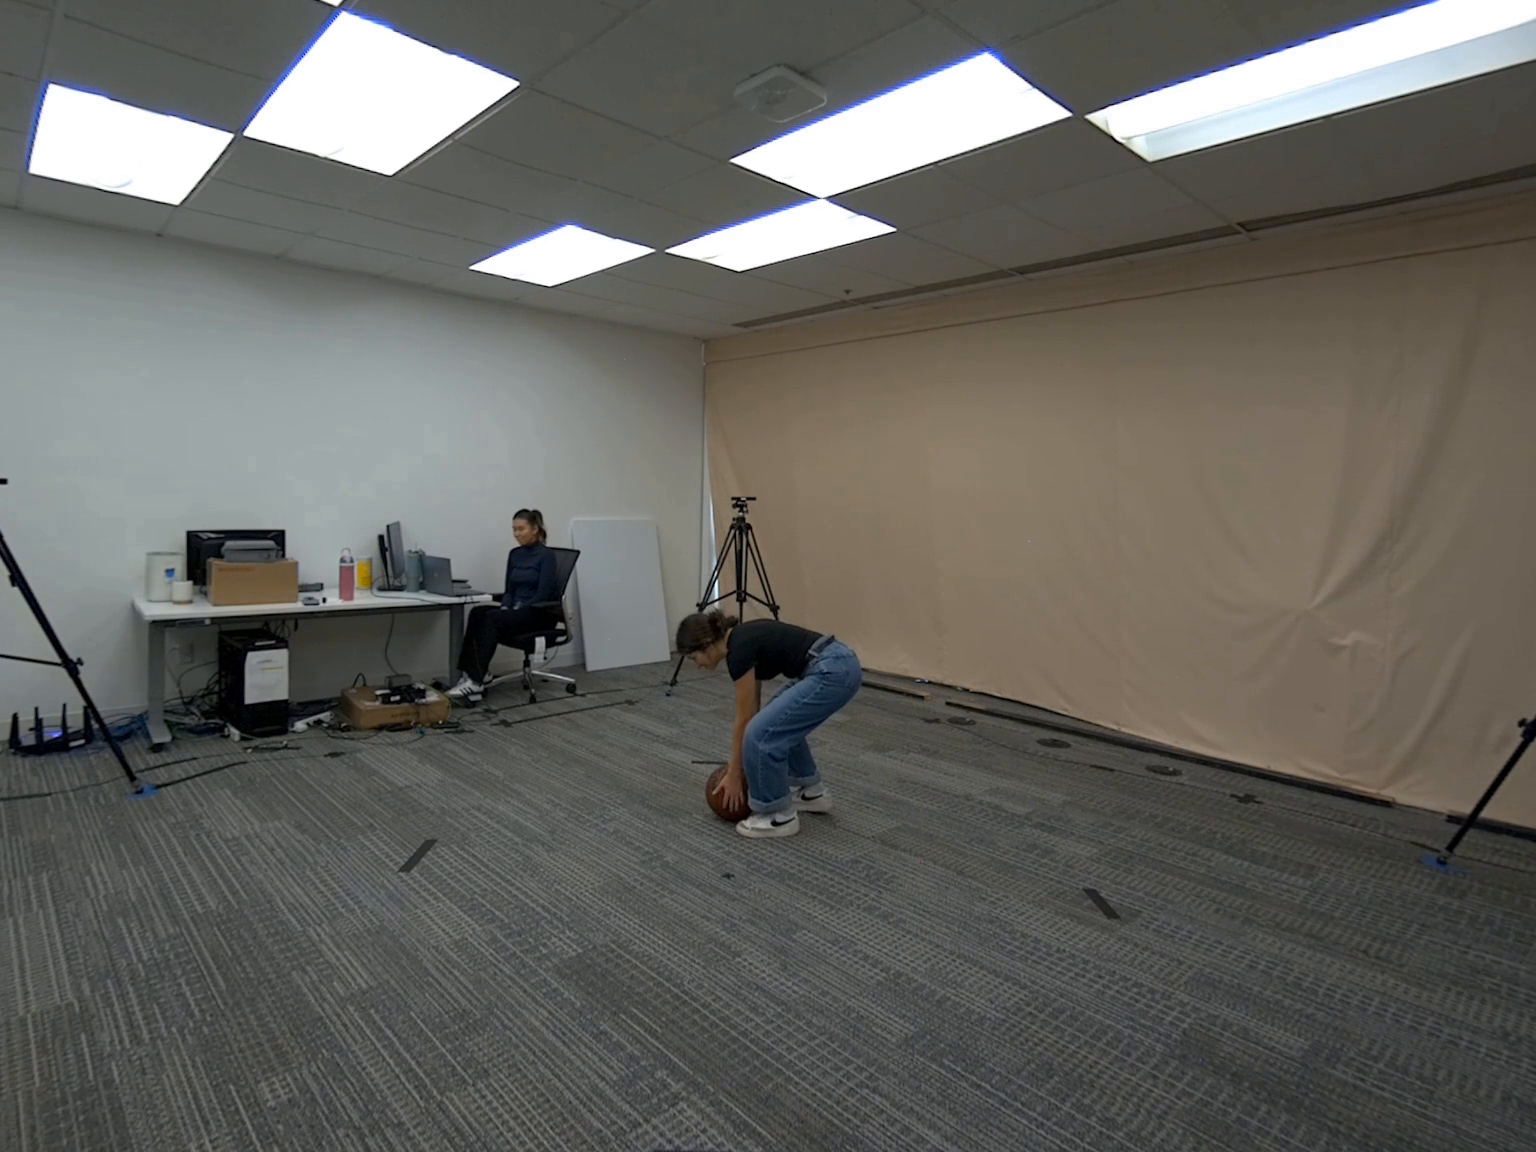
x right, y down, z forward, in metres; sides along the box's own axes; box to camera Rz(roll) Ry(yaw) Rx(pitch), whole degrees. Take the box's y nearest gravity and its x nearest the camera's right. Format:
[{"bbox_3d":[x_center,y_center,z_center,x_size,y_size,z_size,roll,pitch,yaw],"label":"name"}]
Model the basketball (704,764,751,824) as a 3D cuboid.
[{"bbox_3d":[-0.165,0.930,3.662,0.236,0.235,0.237,1,4,-1],"label":"basketball"}]
